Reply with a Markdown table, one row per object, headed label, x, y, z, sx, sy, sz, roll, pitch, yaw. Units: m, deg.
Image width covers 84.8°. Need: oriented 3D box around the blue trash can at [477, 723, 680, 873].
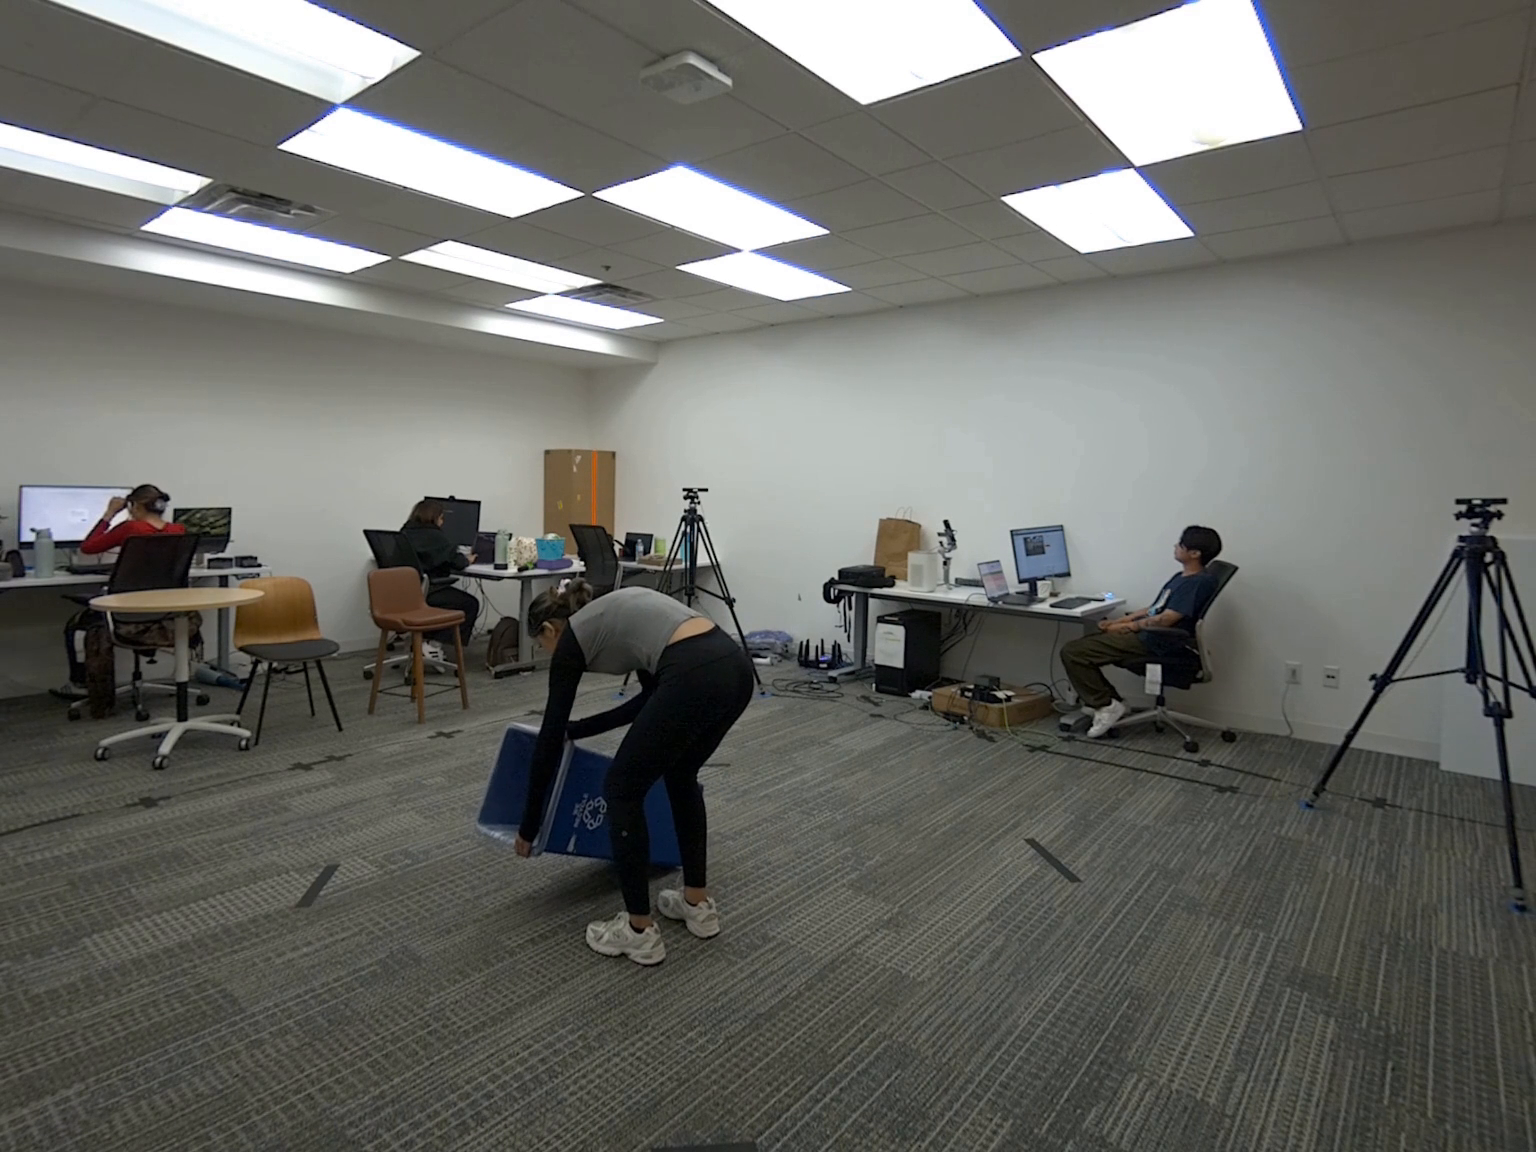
| label | x | y | z | sx | sy | sz | roll | pitch | yaw |
| --- | --- | --- | --- | --- | --- | --- | --- | --- | --- |
| blue trash can | -0.606 | 0.785 | 3.003 | 0.390 | 0.378 | 0.684 | 0 | -20 | 41 |
